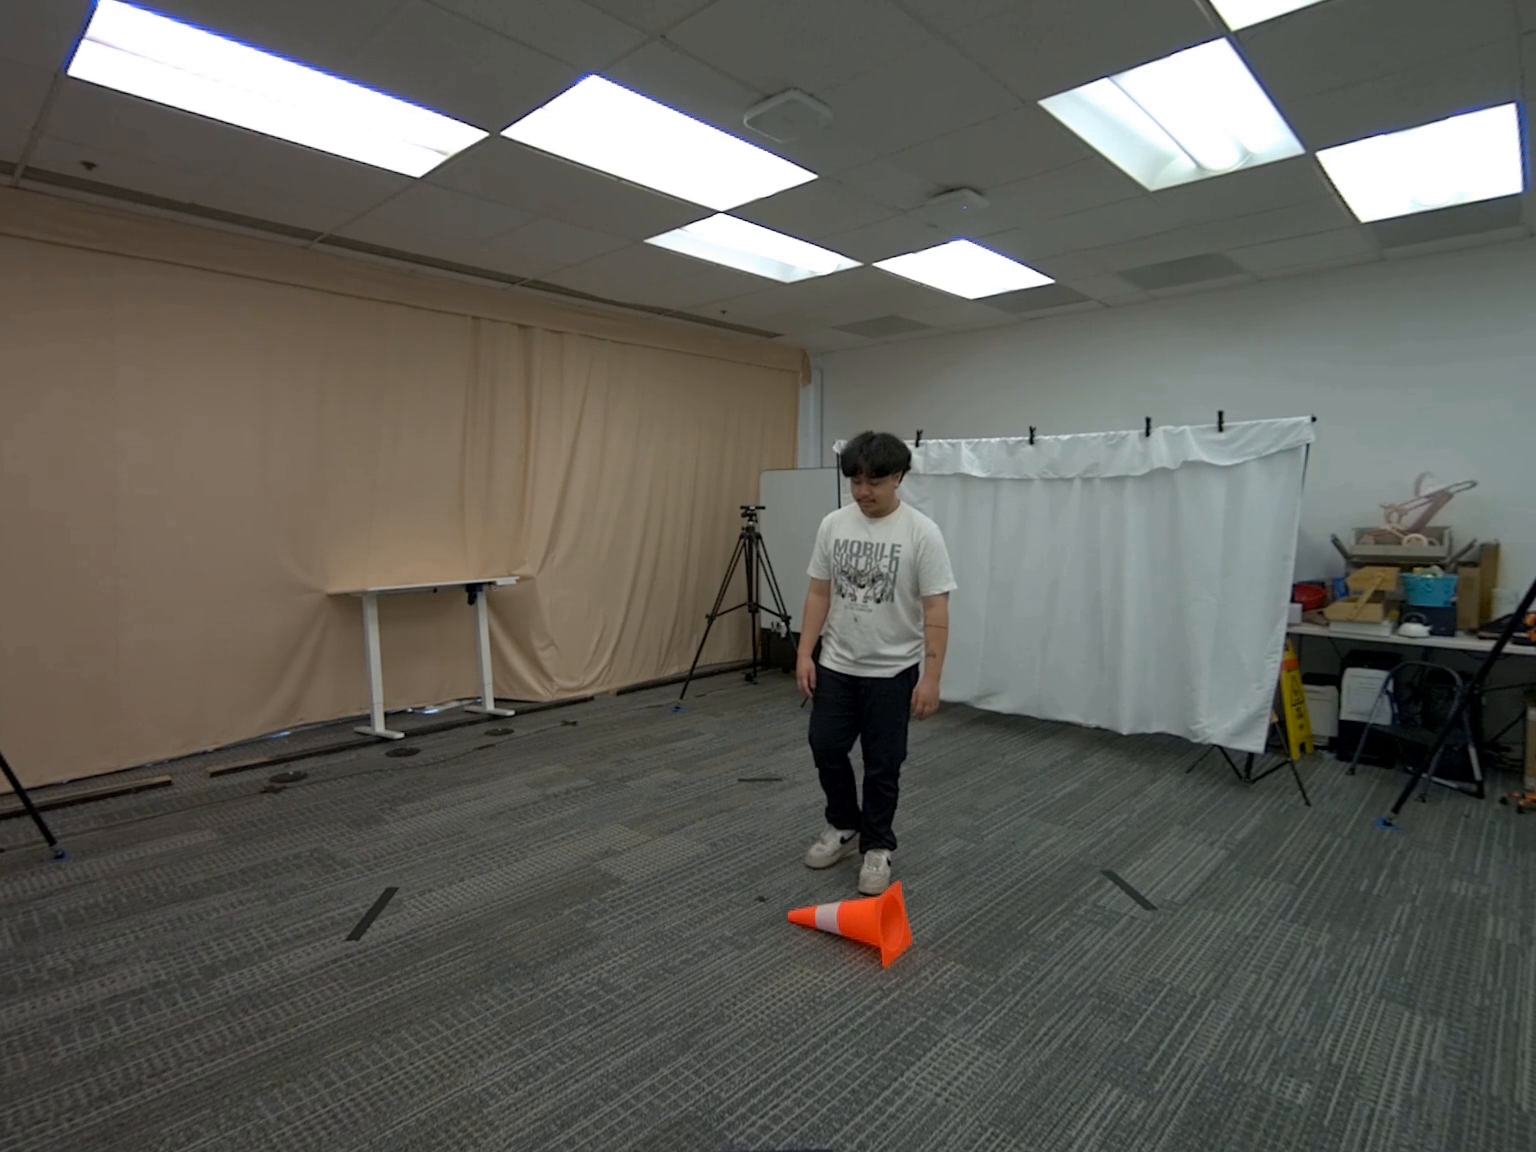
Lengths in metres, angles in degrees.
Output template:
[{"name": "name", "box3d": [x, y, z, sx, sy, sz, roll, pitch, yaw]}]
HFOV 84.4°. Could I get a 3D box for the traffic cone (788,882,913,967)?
[{"name": "traffic cone", "box3d": [0.231, 1.112, 2.717, 0.393, 0.204, 0.199, -13, -5, 33]}]
